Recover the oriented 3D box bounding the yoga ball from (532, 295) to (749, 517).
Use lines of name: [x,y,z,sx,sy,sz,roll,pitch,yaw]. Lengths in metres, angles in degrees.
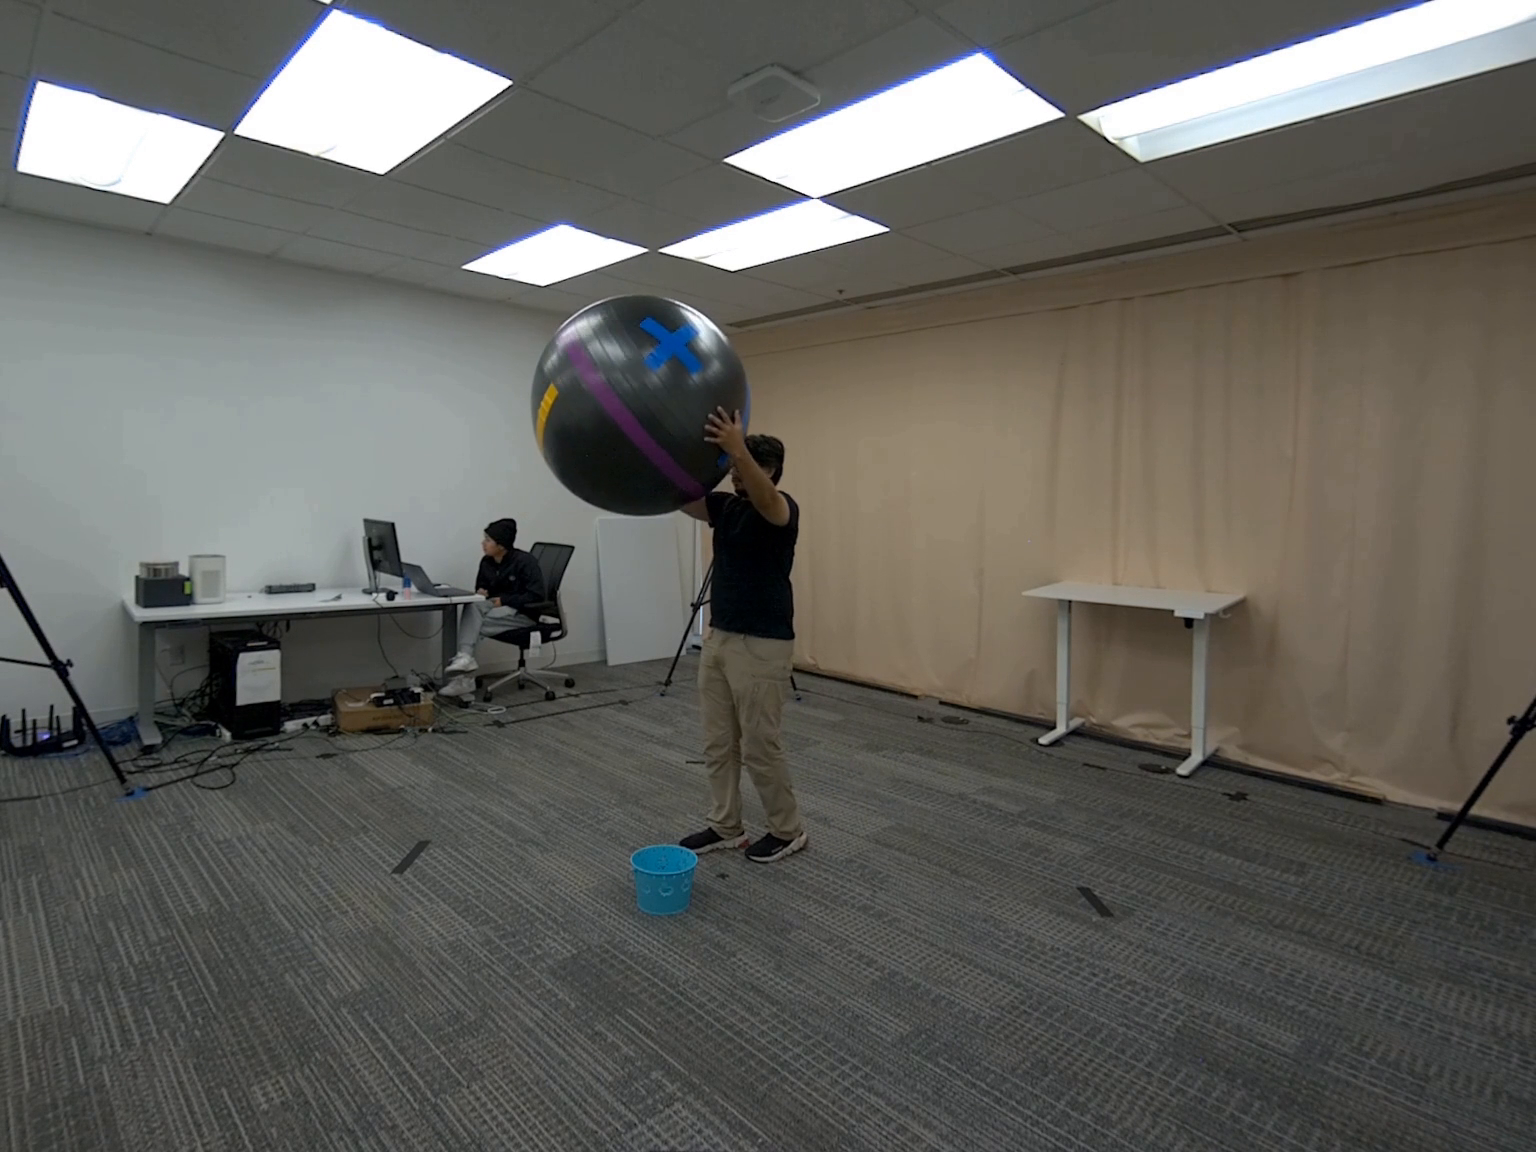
yoga ball: [-0.444,-0.578,2.935,0.757,0.756,0.761,1,4,-1]
